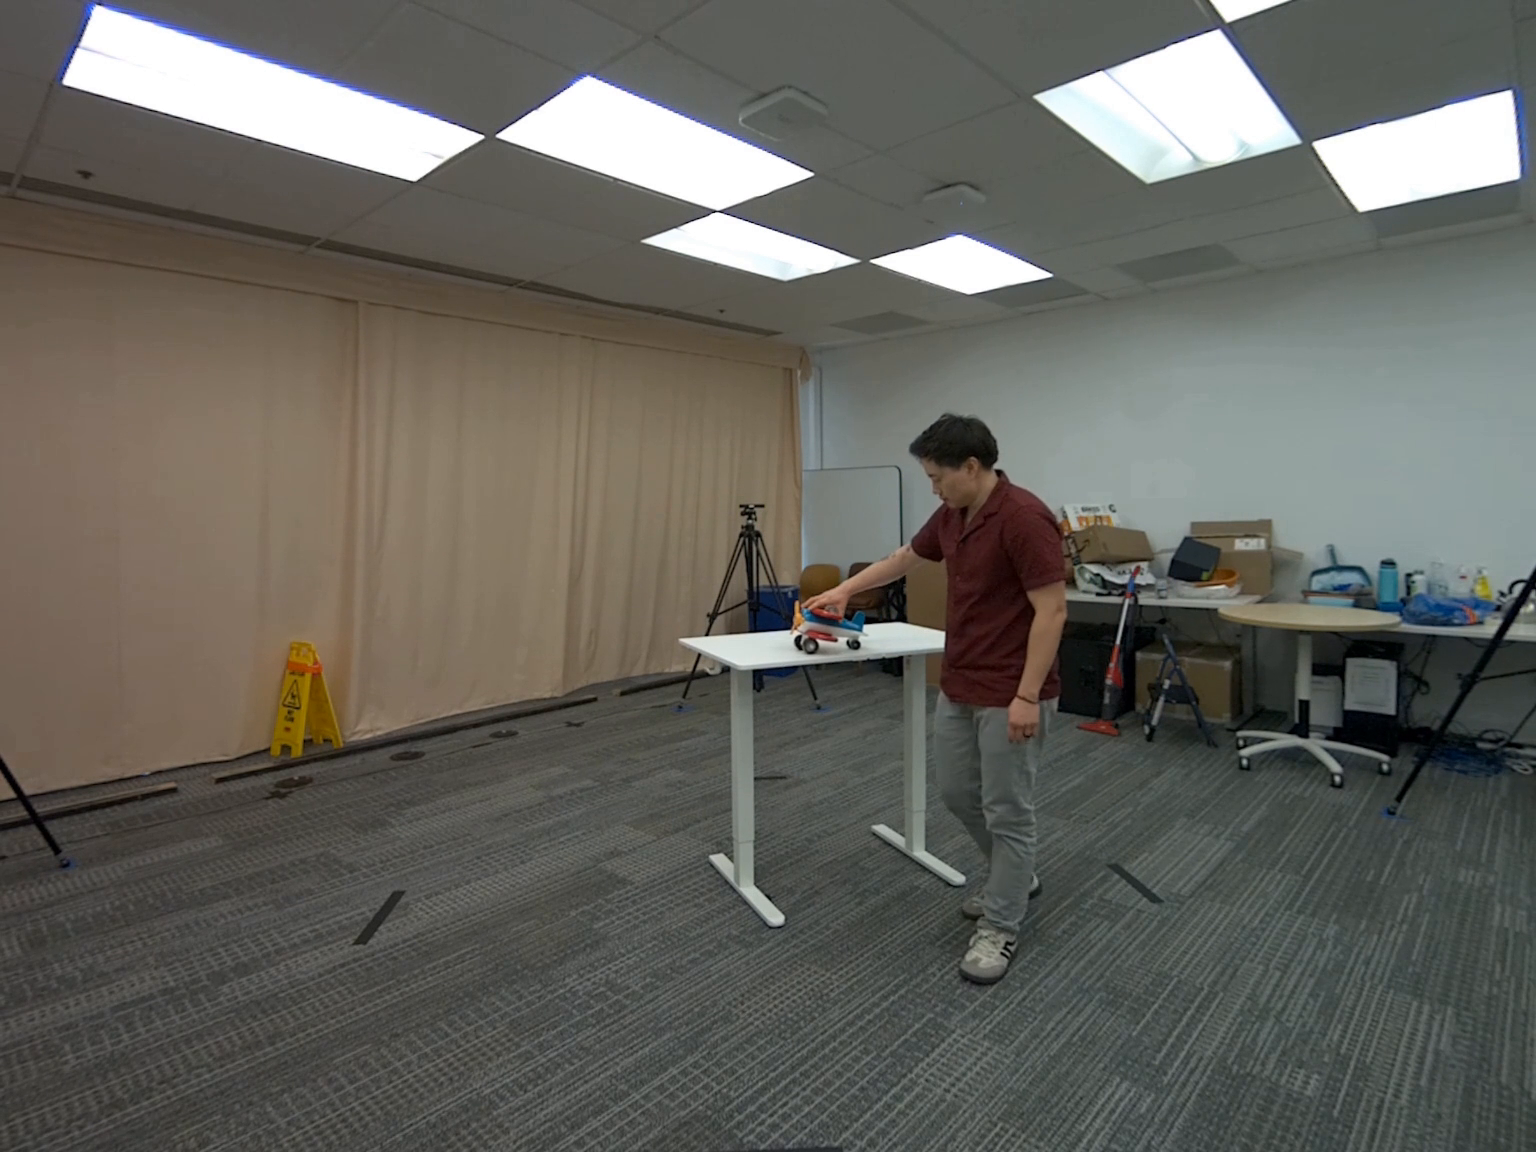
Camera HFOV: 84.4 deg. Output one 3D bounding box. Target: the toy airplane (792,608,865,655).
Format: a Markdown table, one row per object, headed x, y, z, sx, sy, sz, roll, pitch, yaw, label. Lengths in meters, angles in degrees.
| x | y | z | sx | sy | sz | roll | pitch | yaw | label |
| --- | --- | --- | --- | --- | --- | --- | --- | --- | --- |
| 0.208 | 0.182 | 2.933 | 0.251 | 0.156 | 0.259 | -6 | 7 | -44 | toy airplane |
